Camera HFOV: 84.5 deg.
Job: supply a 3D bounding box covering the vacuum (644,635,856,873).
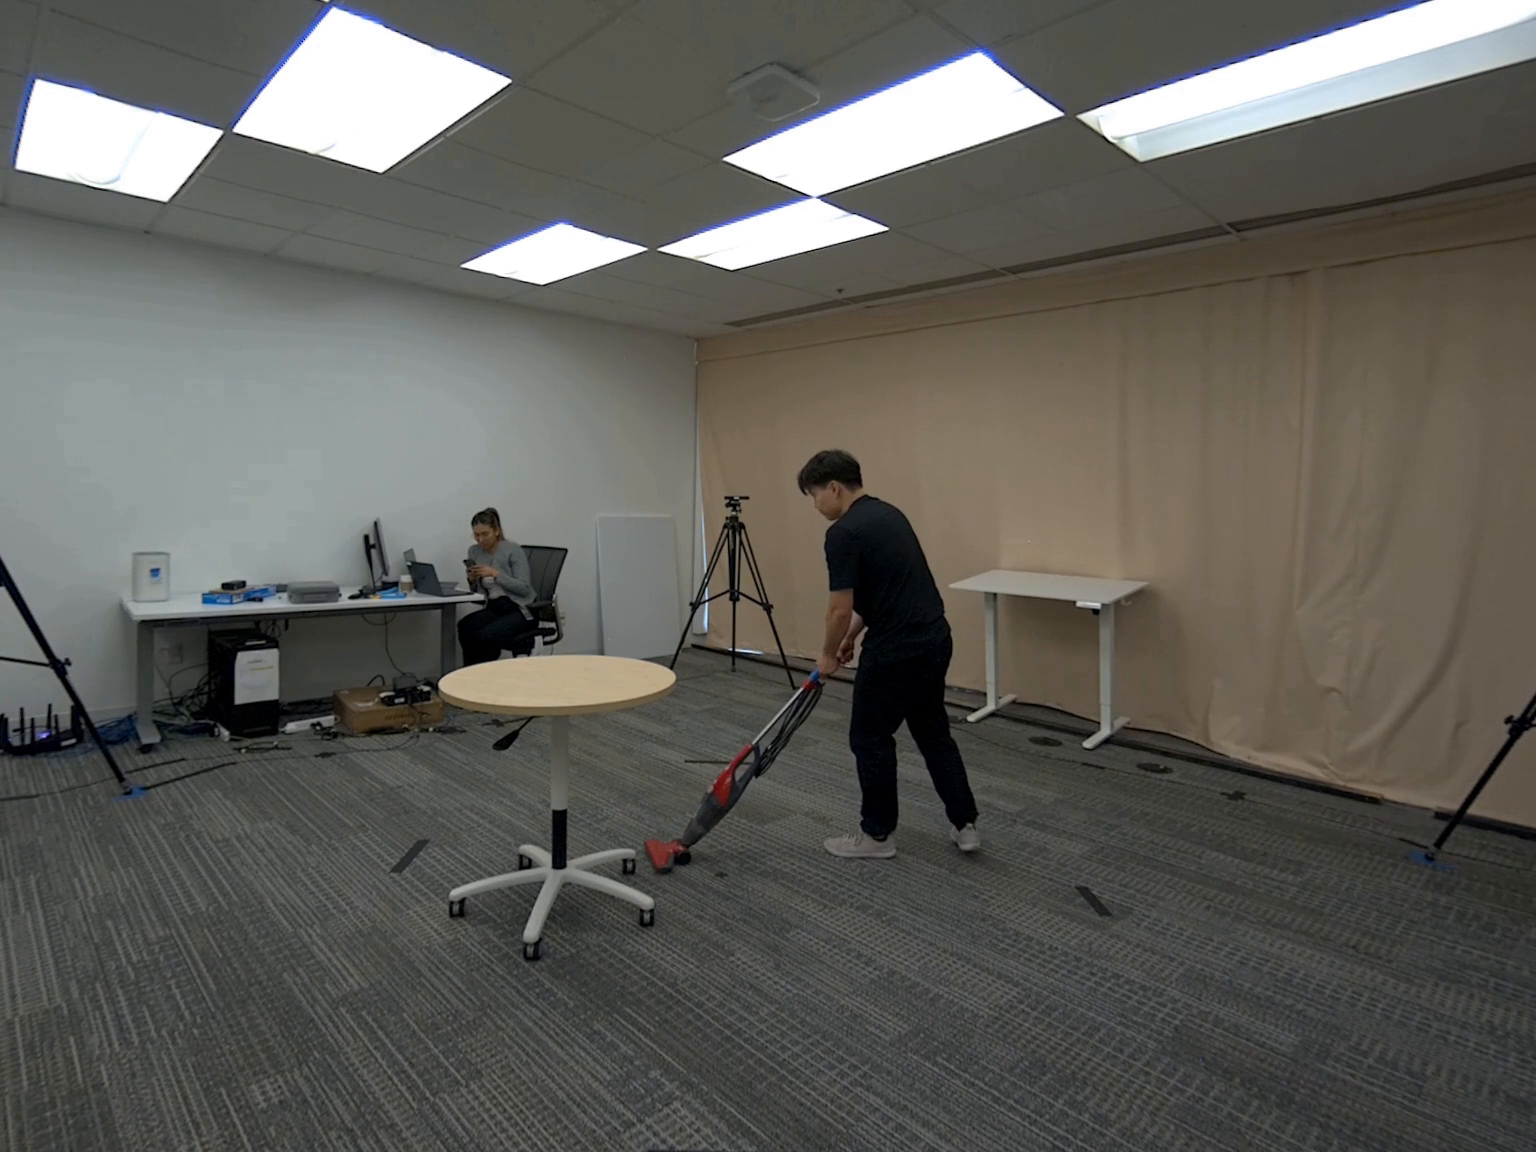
[{"bbox_3d":[-0.030,0.710,3.308,1.049,0.141,0.257,-44,20,-9],"label":"vacuum"}]
